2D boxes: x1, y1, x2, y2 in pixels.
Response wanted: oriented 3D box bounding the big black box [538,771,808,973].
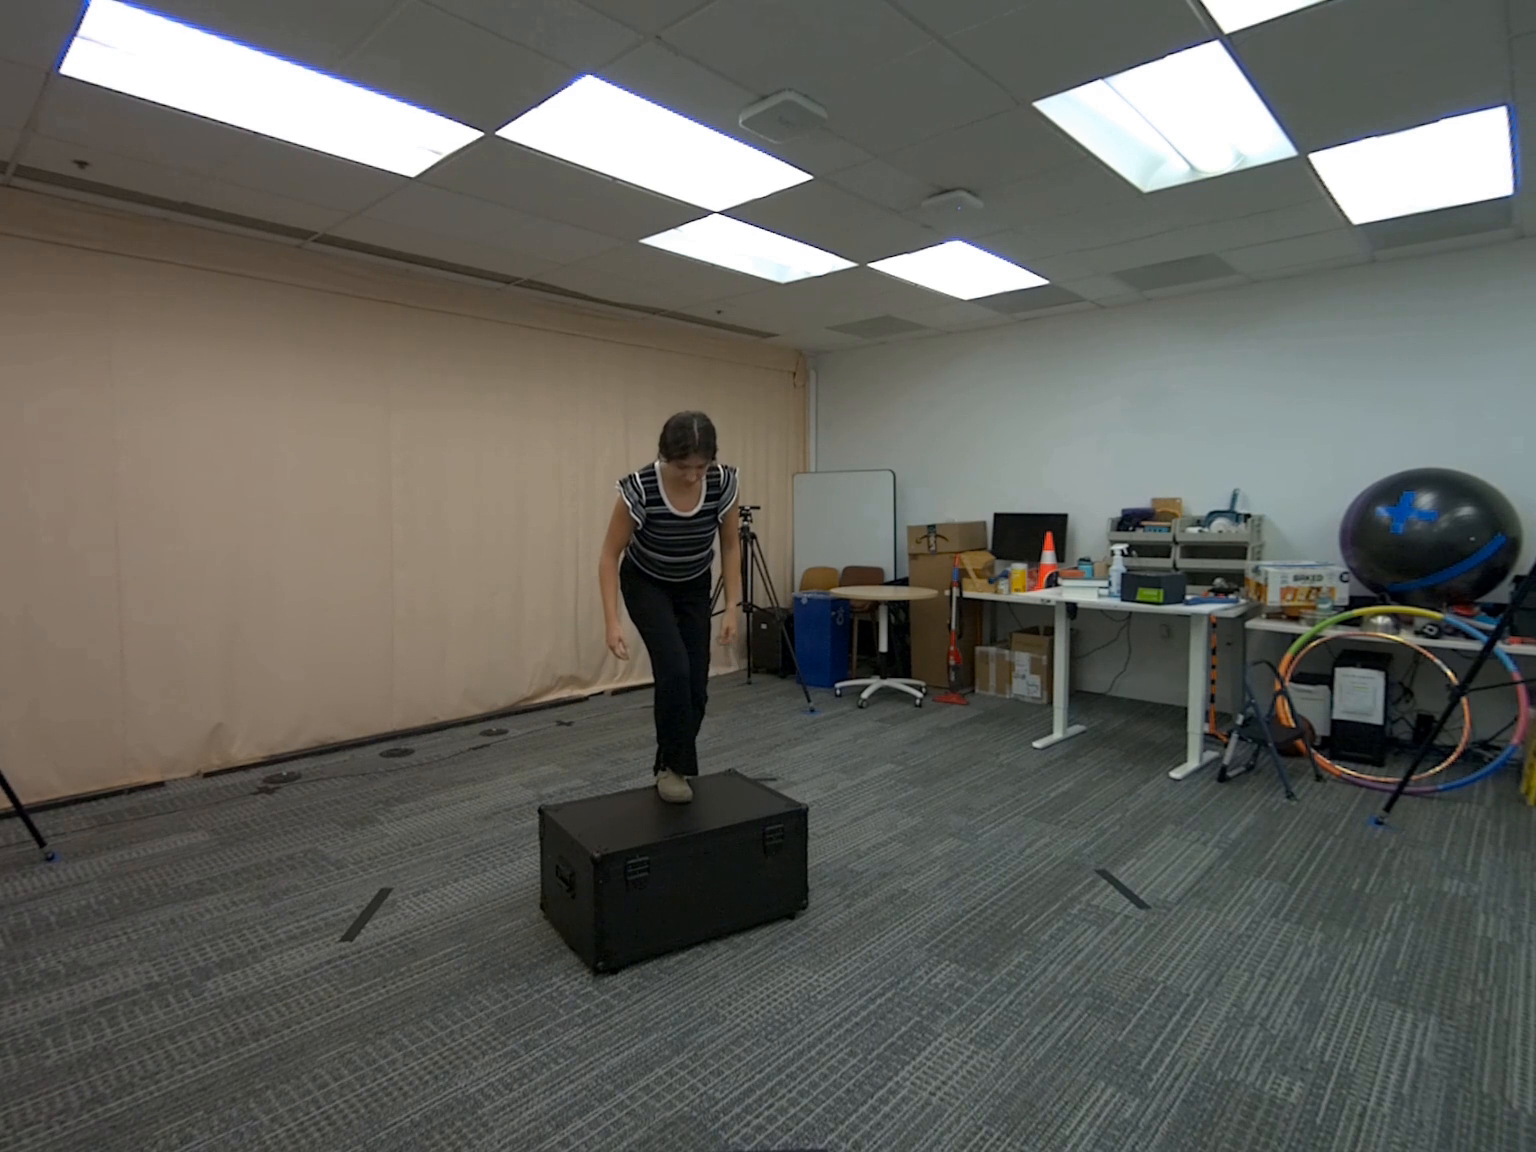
[{"bbox_3d":[-0.290,0.967,2.872,0.838,0.395,0.537,-3,5,-32],"label":"big black box"}]
